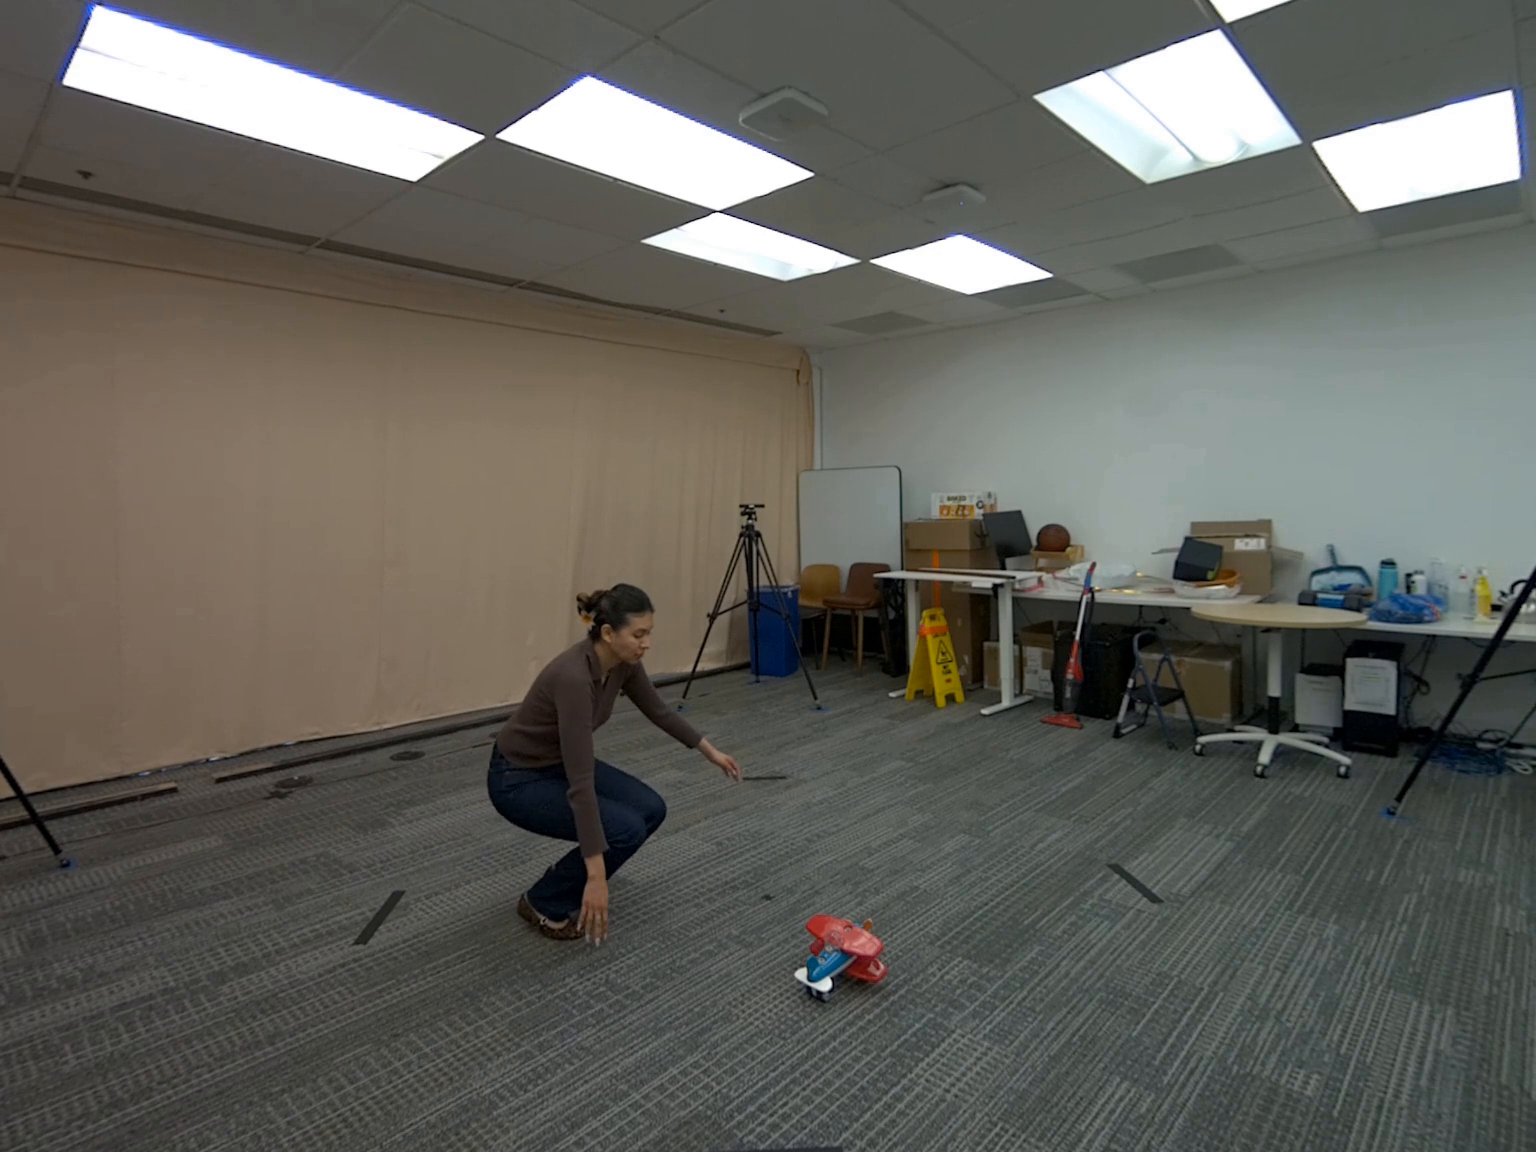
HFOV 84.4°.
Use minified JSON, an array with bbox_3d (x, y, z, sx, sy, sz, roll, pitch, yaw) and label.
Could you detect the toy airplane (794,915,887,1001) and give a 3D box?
[{"bbox_3d":[0.221,1.113,2.417,0.256,0.156,0.255,3,3,16],"label":"toy airplane"}]
